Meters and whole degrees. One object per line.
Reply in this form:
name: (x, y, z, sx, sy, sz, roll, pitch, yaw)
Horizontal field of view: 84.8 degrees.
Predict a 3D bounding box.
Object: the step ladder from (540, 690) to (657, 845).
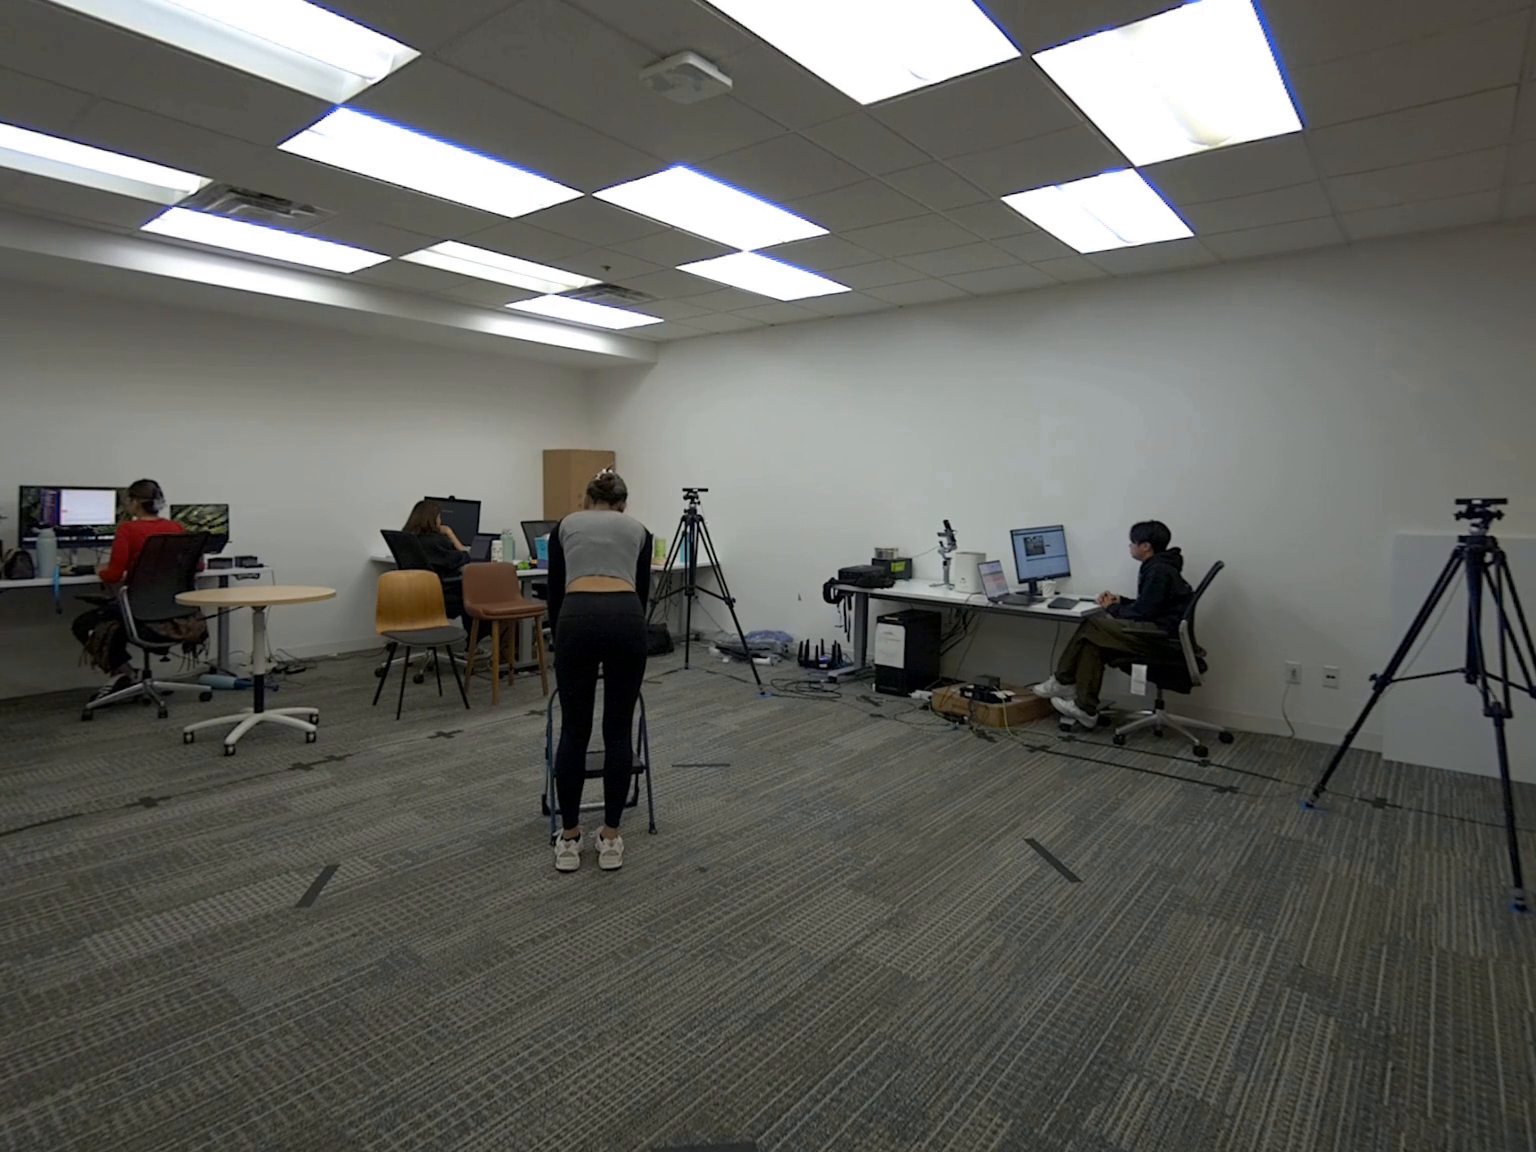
step ladder: (-0.711, 0.719, 3.508, 0.422, 0.605, 0.357, 0, 3, -21)
